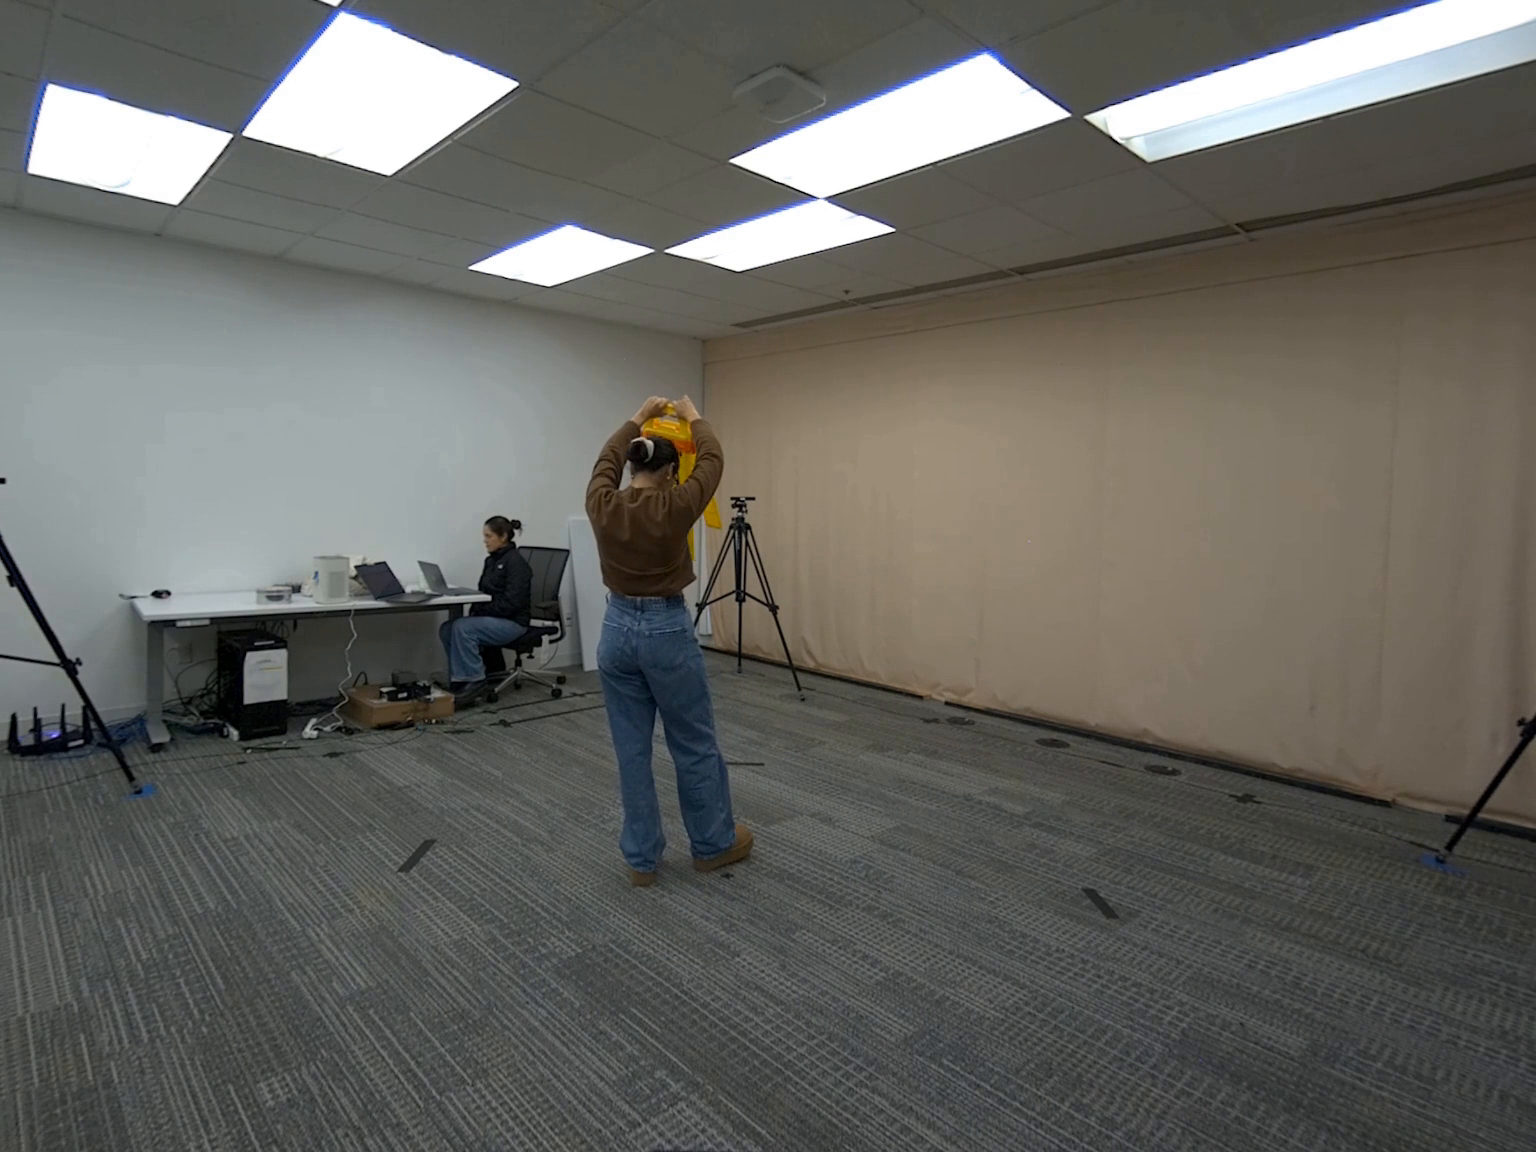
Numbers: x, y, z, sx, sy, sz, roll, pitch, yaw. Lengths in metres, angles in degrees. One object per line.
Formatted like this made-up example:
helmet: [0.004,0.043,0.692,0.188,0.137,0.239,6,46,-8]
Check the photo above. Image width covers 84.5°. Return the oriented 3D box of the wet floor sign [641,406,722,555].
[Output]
wet floor sign: [-0.392,-0.418,3.506,0.288,0.632,0.290,16,39,20]
